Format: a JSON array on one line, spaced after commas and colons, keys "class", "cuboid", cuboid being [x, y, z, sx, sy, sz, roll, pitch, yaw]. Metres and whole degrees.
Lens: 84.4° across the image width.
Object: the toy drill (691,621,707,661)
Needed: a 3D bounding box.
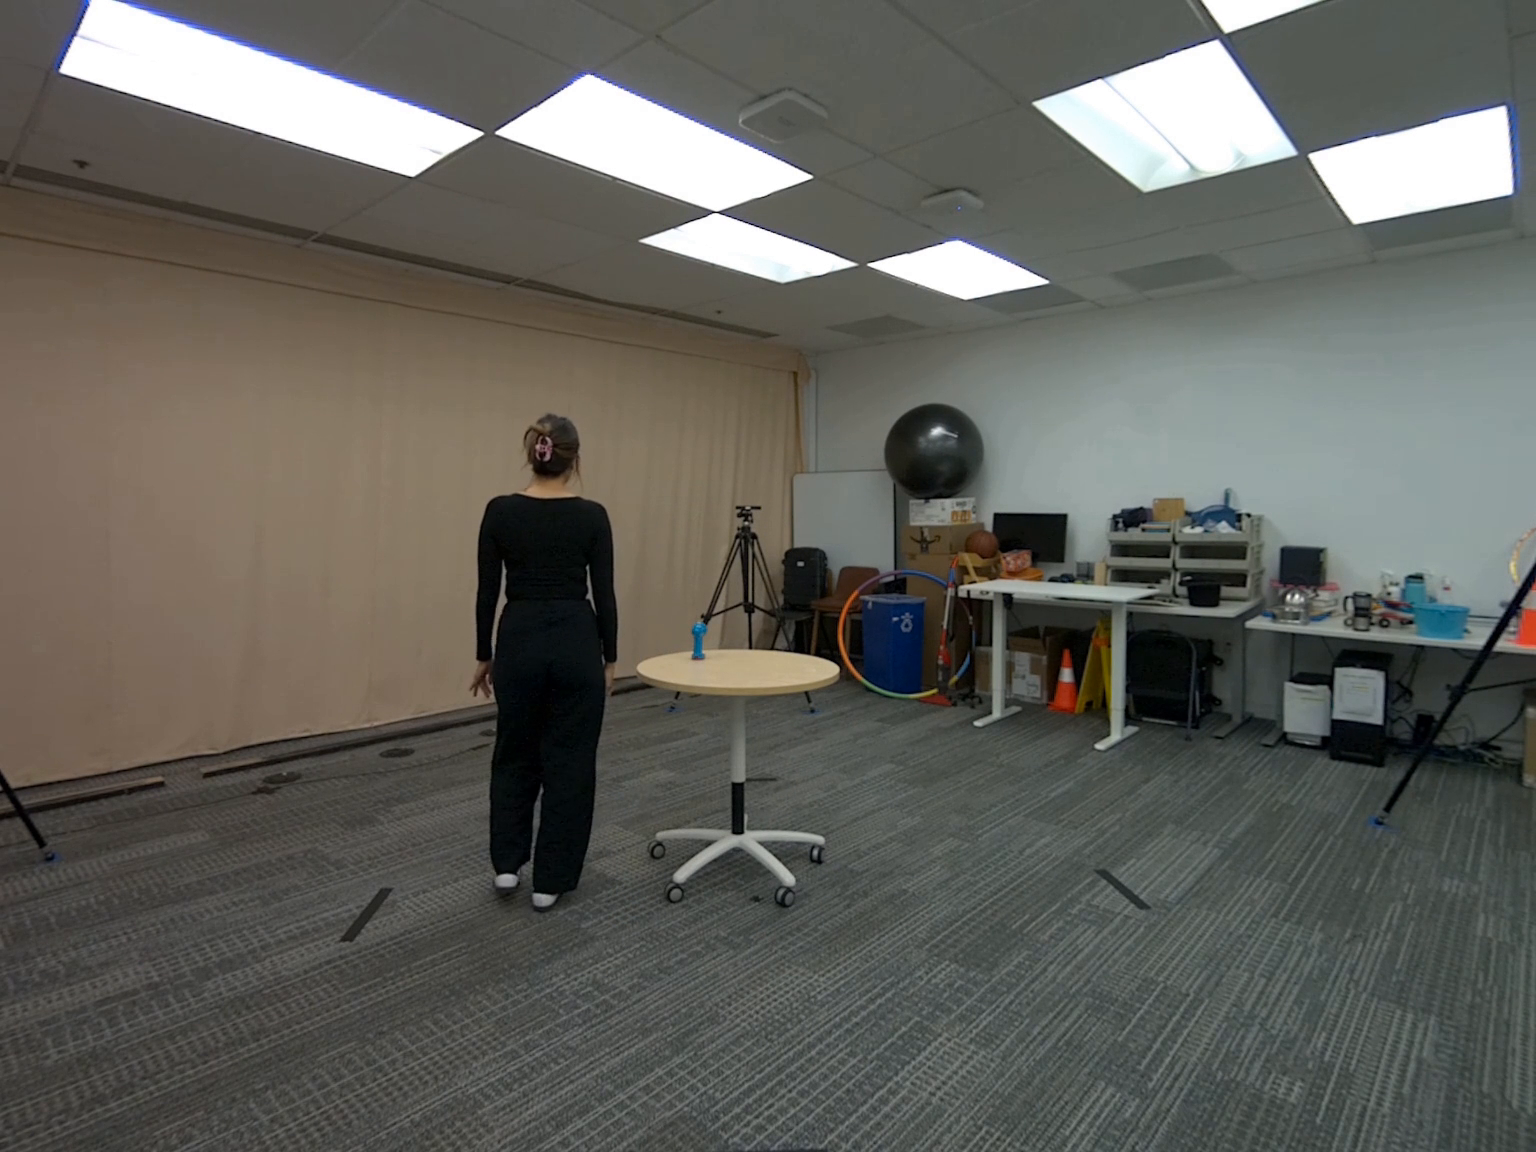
[{"class": "toy drill", "cuboid": [-0.272, 0.254, 3.402, 0.061, 0.146, 0.169, 2, 4, 2]}]
